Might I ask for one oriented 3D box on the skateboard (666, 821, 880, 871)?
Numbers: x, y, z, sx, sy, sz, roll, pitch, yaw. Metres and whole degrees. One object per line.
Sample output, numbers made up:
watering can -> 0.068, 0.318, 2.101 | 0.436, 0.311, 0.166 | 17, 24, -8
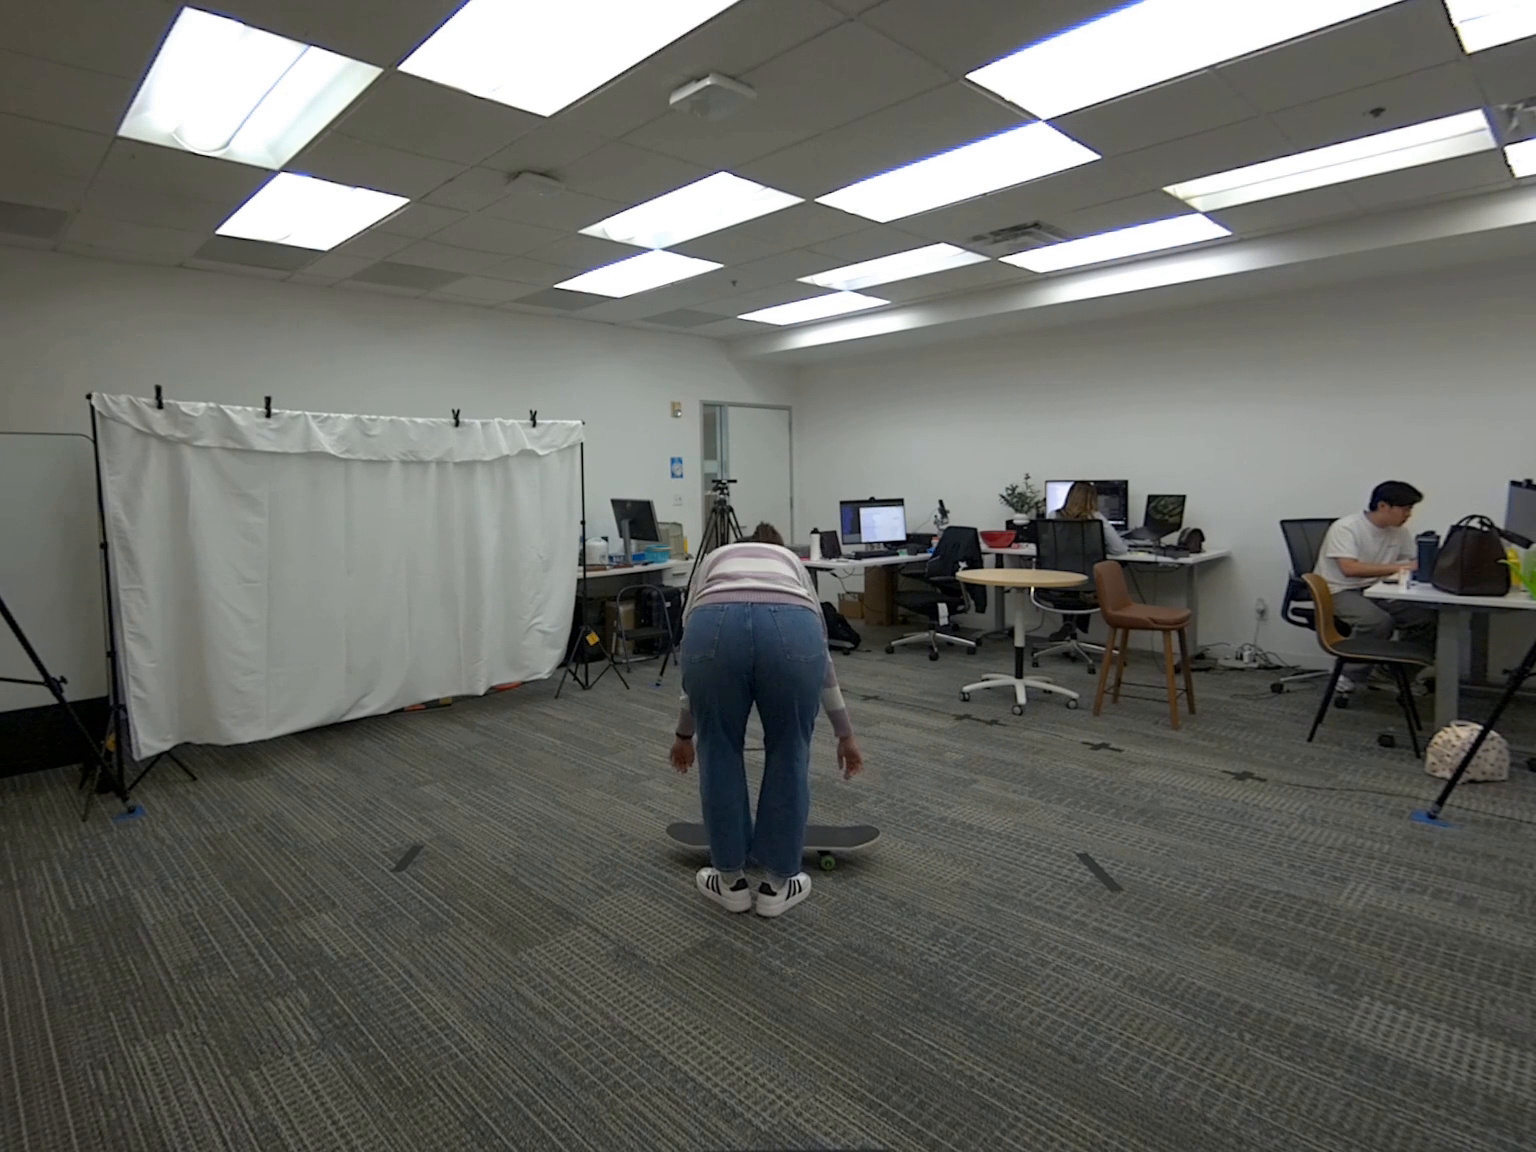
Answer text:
skateboard -> 0.019, 0.984, 3.139 | 0.789, 0.110, 0.193 | 0, 6, 5
